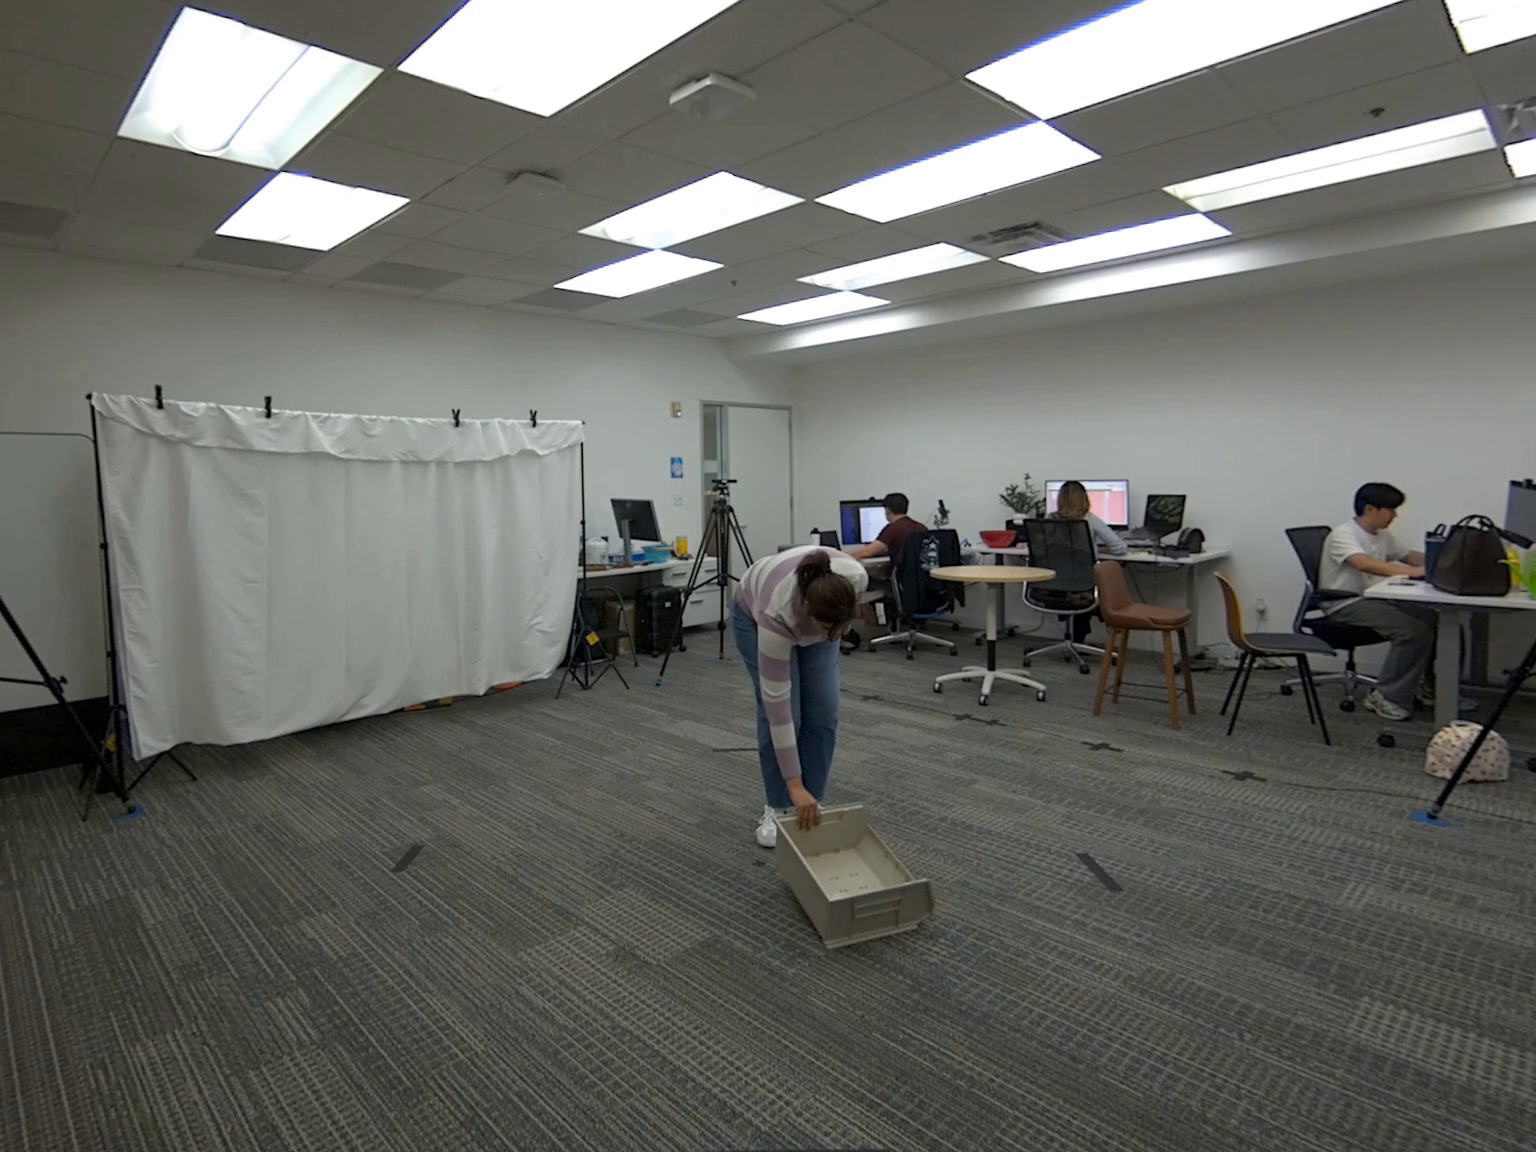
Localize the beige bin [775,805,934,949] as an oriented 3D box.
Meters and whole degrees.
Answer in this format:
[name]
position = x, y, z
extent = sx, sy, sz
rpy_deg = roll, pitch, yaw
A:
[beige bin]
position = 0.263, 0.949, 2.753
extent = 0.370, 0.186, 0.436
rpy_deg = -5, 20, -22
